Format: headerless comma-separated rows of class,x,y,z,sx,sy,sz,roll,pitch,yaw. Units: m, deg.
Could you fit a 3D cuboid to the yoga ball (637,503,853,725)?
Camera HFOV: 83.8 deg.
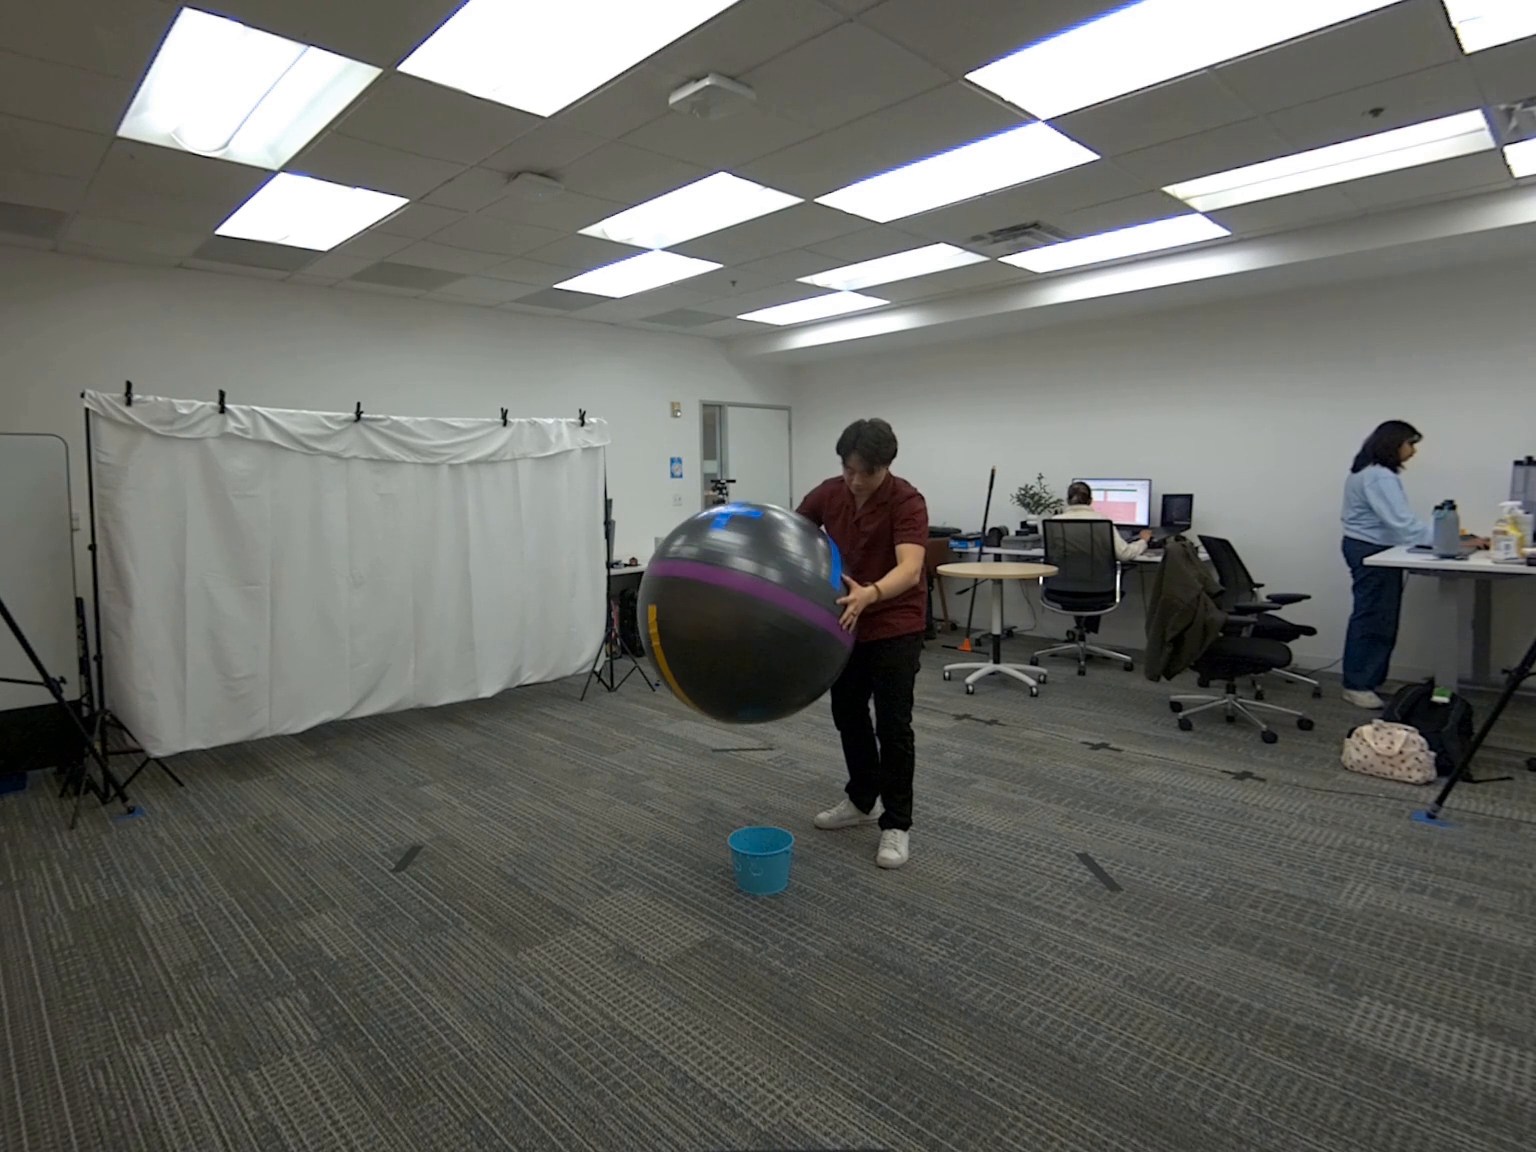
yoga ball,-0.076,0.123,2.953,0.757,0.755,0.762,-1,5,-2
